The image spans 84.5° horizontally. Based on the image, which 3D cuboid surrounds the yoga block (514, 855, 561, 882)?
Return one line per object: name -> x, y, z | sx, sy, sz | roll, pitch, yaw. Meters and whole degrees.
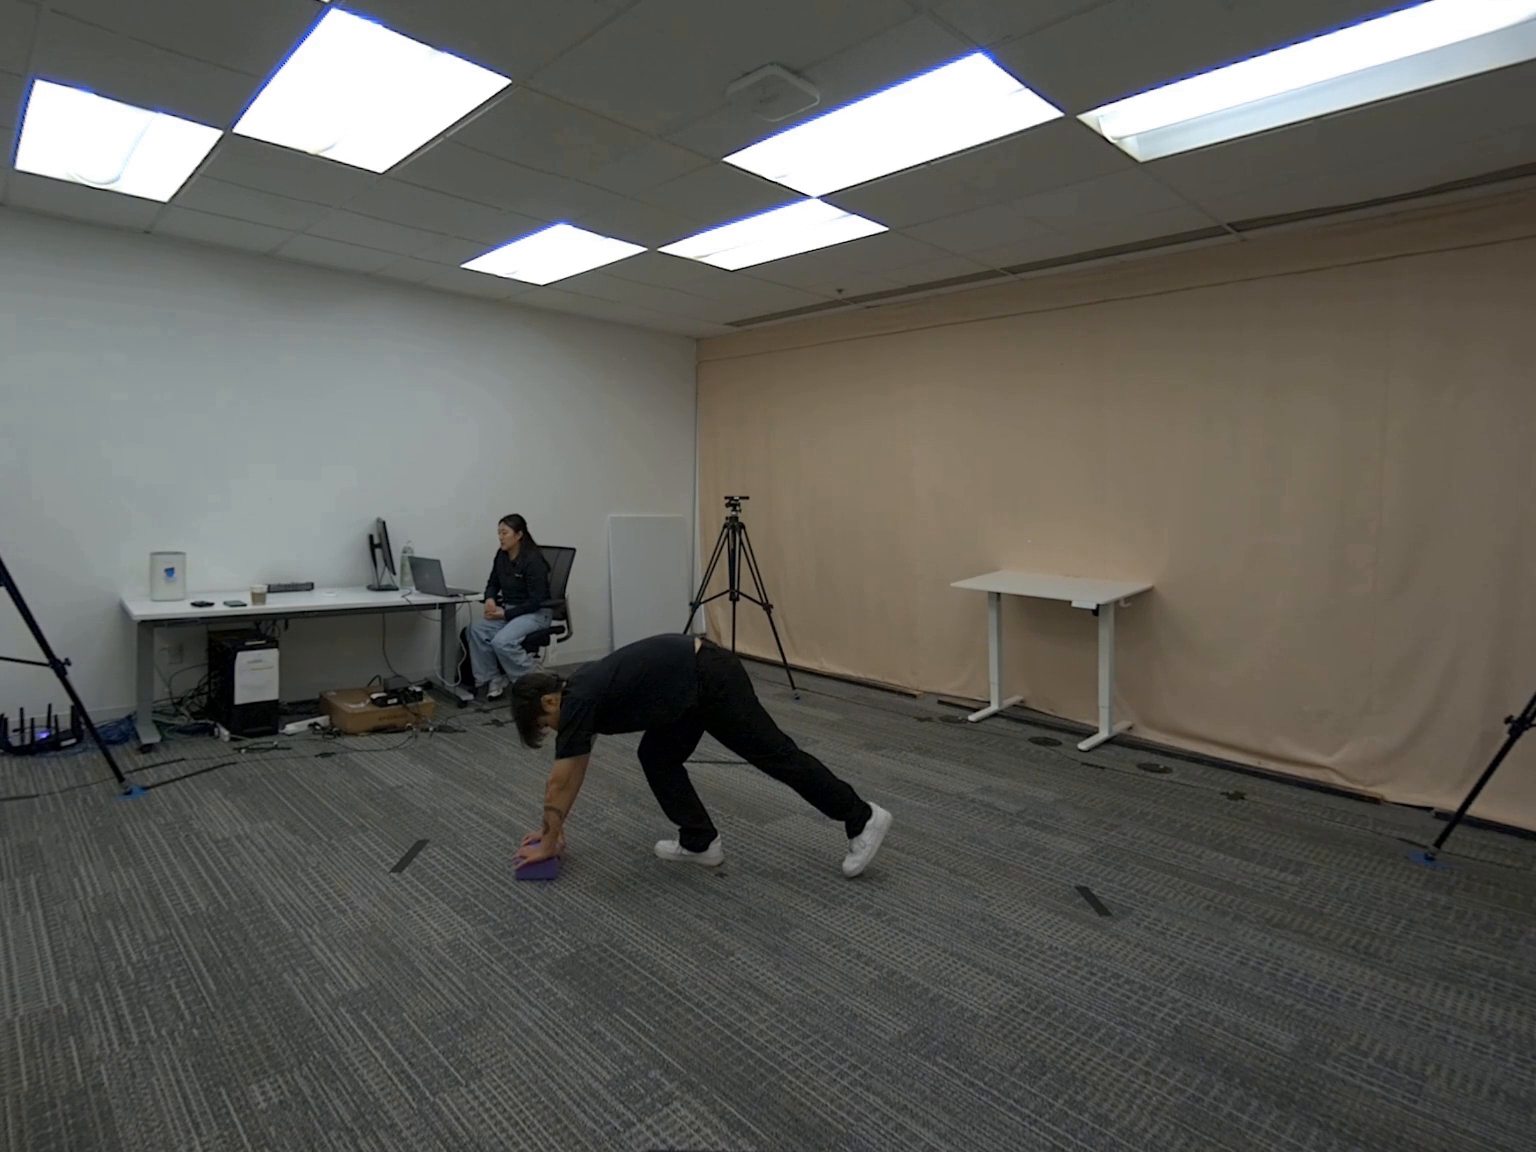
yoga block -> -0.856, 1.057, 3.131 | 0.148, 0.076, 0.231 | -4, 7, -4
